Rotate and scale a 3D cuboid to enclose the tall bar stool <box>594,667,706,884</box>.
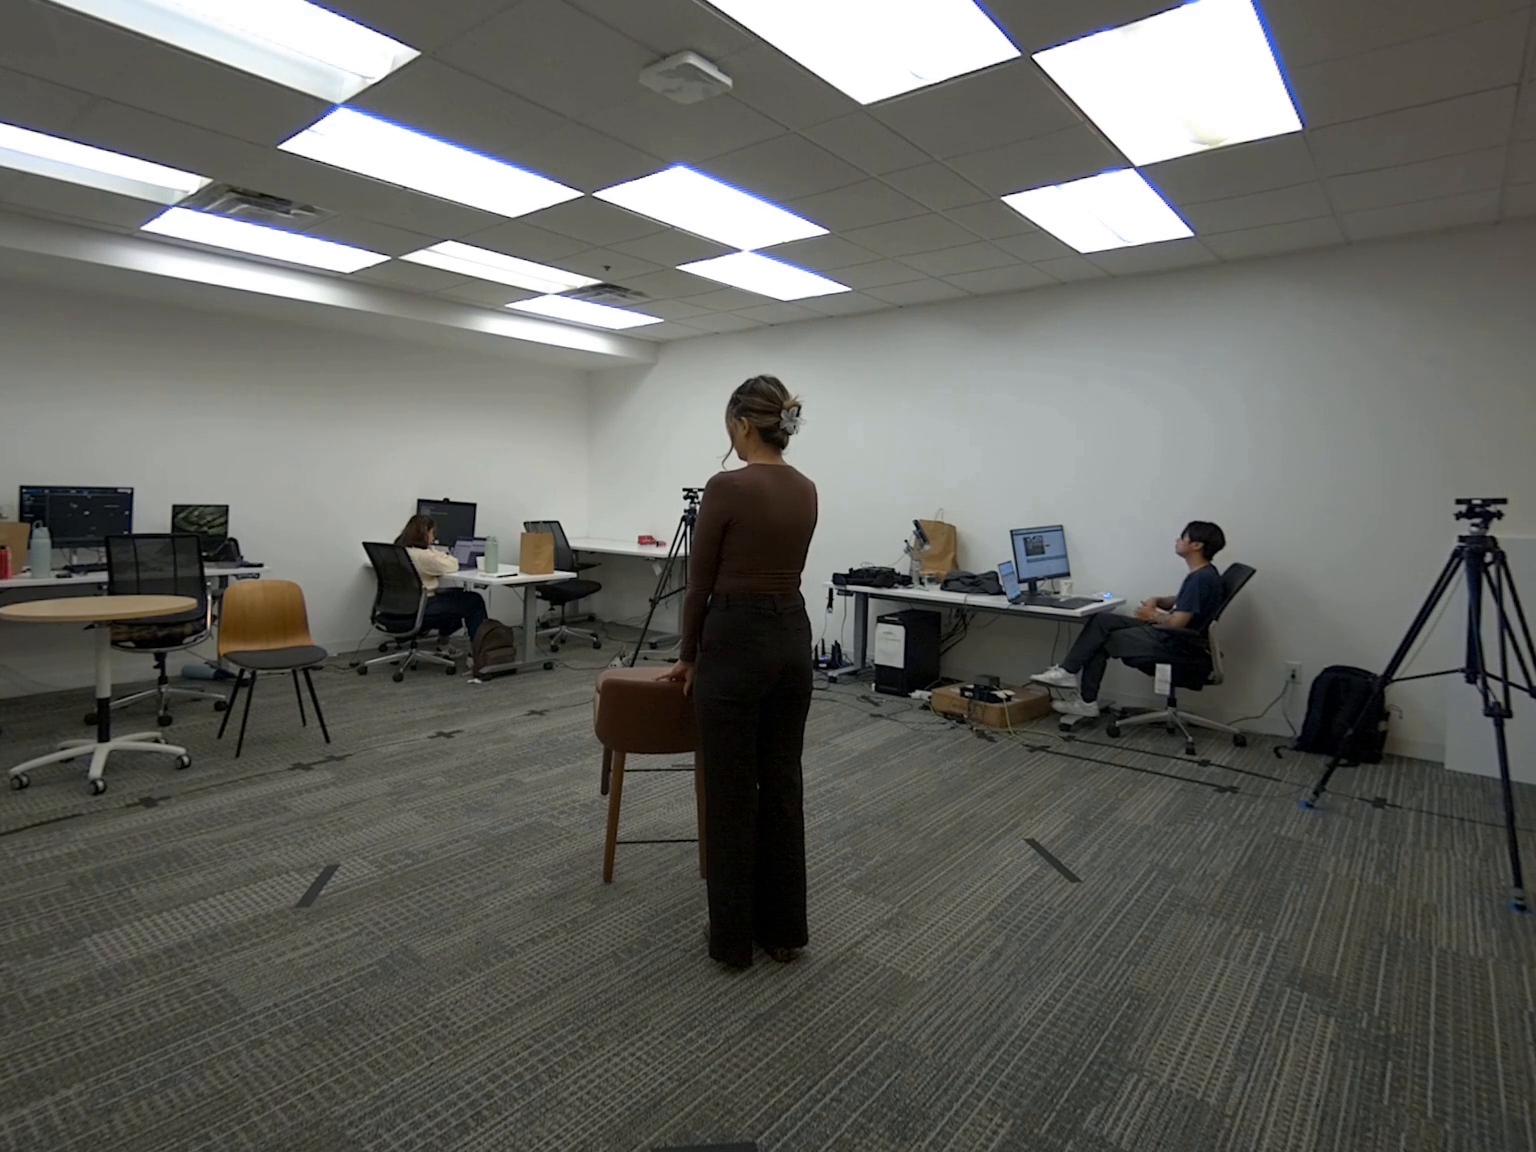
[{"bbox_3d":[-0.402,0.592,3.012,0.453,0.871,0.482,1,29,-8],"label":"tall bar stool"}]
